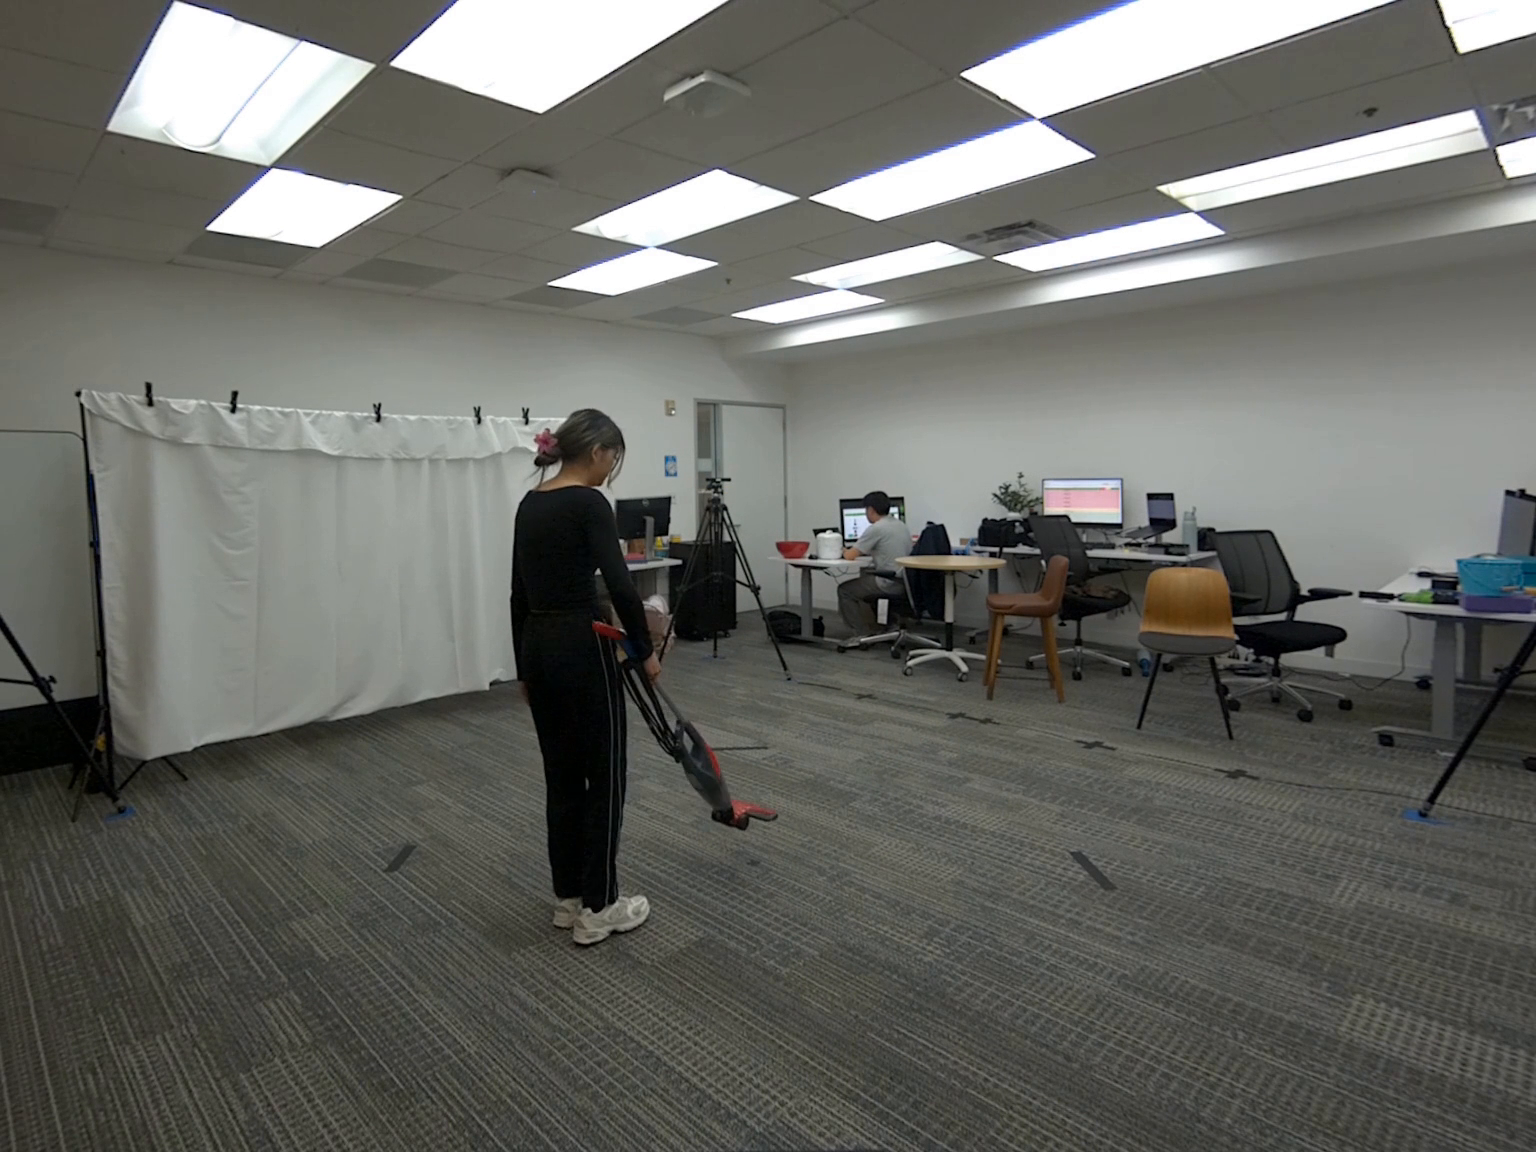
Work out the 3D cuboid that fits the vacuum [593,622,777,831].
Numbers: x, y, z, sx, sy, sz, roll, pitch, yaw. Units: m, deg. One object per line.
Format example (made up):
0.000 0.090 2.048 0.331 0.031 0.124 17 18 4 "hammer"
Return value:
-0.284 0.506 2.753 0.260 1.012 0.145 5 47 36 "vacuum"
